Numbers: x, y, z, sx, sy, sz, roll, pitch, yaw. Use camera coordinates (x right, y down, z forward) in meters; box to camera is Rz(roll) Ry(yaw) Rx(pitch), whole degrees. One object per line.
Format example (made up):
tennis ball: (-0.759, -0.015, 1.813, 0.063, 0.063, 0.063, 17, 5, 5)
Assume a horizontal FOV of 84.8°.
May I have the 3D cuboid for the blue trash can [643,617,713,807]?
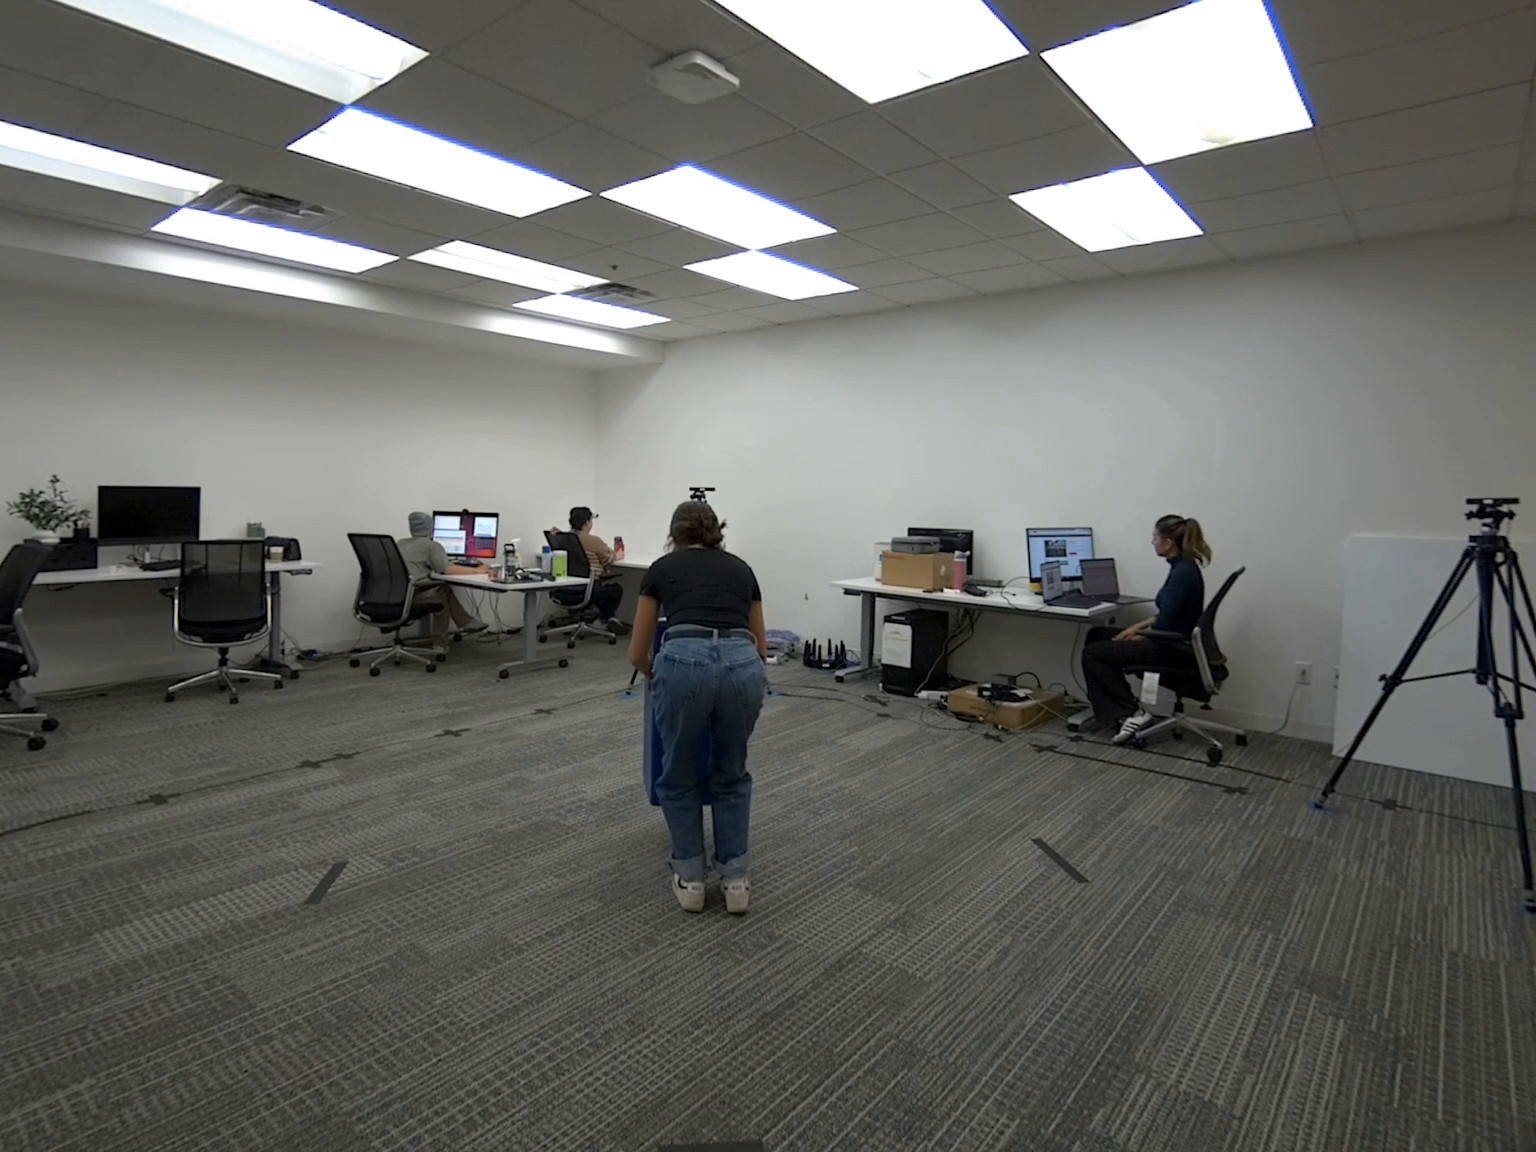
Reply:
blue trash can: (-0.319, 0.487, 3.307, 0.369, 0.711, 0.384, 3, 4, -12)
